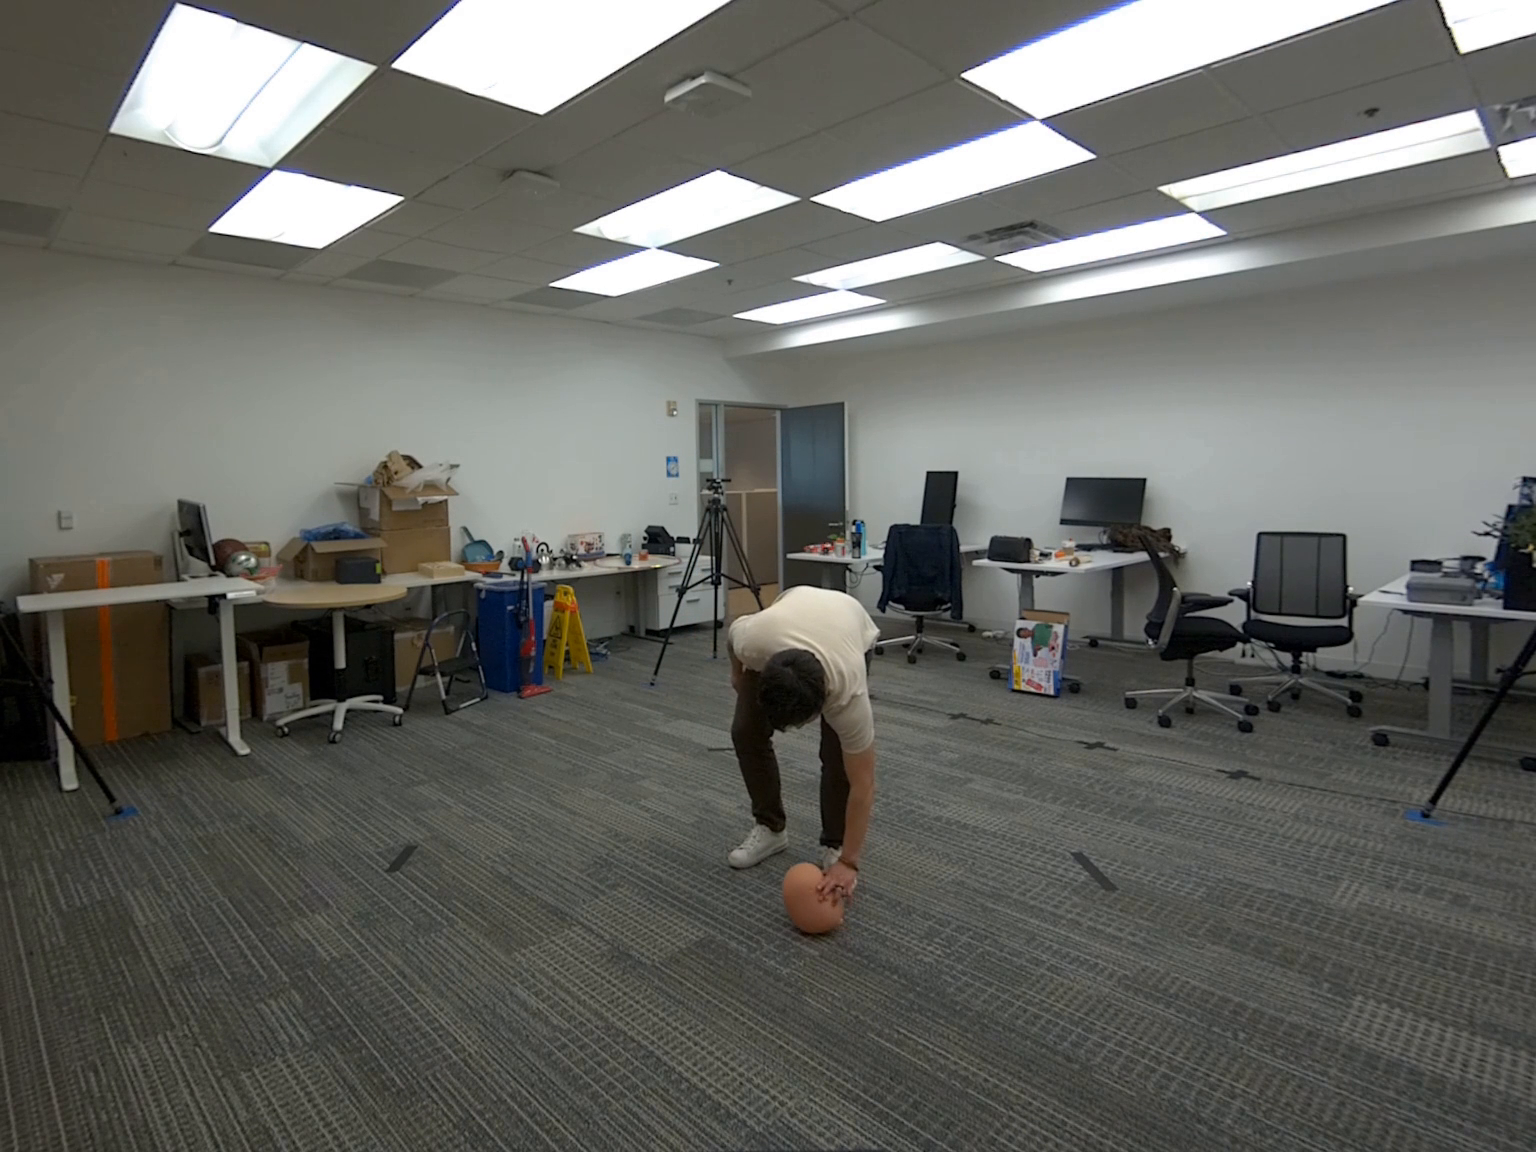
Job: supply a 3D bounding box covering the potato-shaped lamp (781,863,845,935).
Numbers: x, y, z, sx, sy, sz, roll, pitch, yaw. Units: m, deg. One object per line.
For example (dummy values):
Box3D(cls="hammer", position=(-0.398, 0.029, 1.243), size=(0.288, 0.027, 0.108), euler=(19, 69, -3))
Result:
Box3D(cls="potato-shaped lamp", position=(0.146, 0.992, 2.645), size=(0.172, 0.198, 0.164), euler=(-18, -1, 2))
